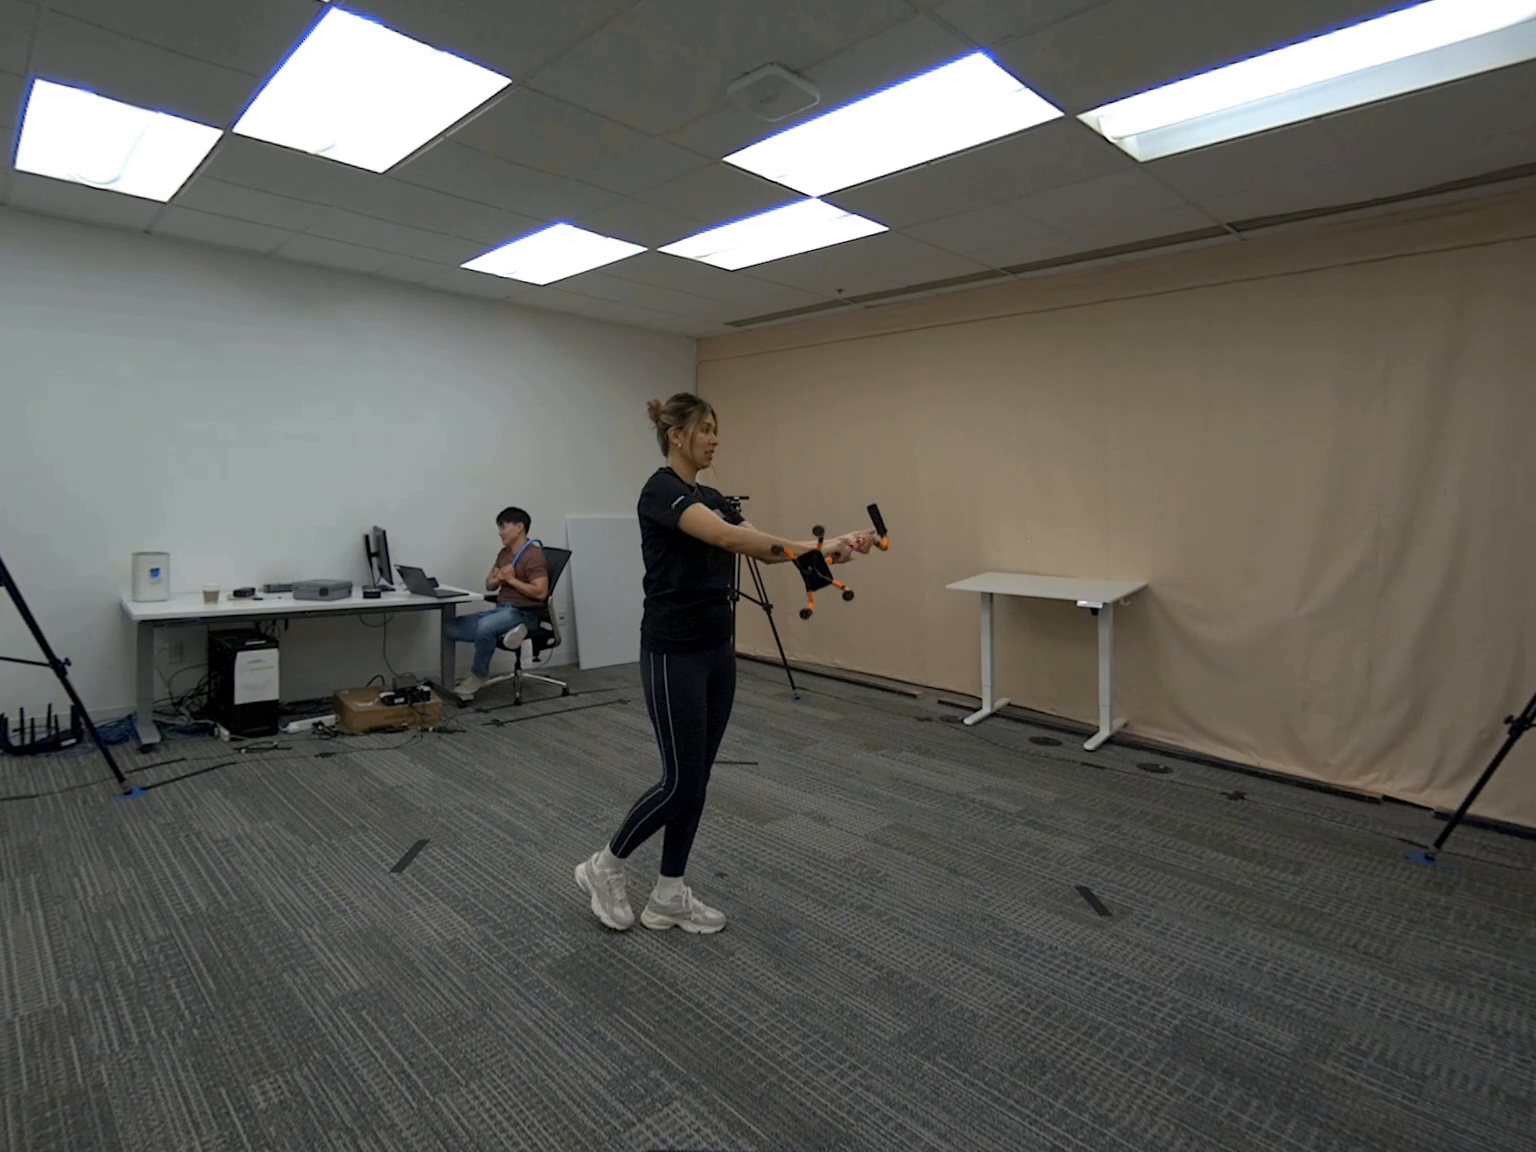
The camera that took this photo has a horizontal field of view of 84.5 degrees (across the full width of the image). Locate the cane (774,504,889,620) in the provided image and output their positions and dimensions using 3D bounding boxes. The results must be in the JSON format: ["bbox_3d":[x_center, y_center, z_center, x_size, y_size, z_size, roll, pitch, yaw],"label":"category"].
[{"bbox_3d":[0.252,-0.087,2.515,0.153,0.206,0.899,-23,1,22],"label":"cane"}]
